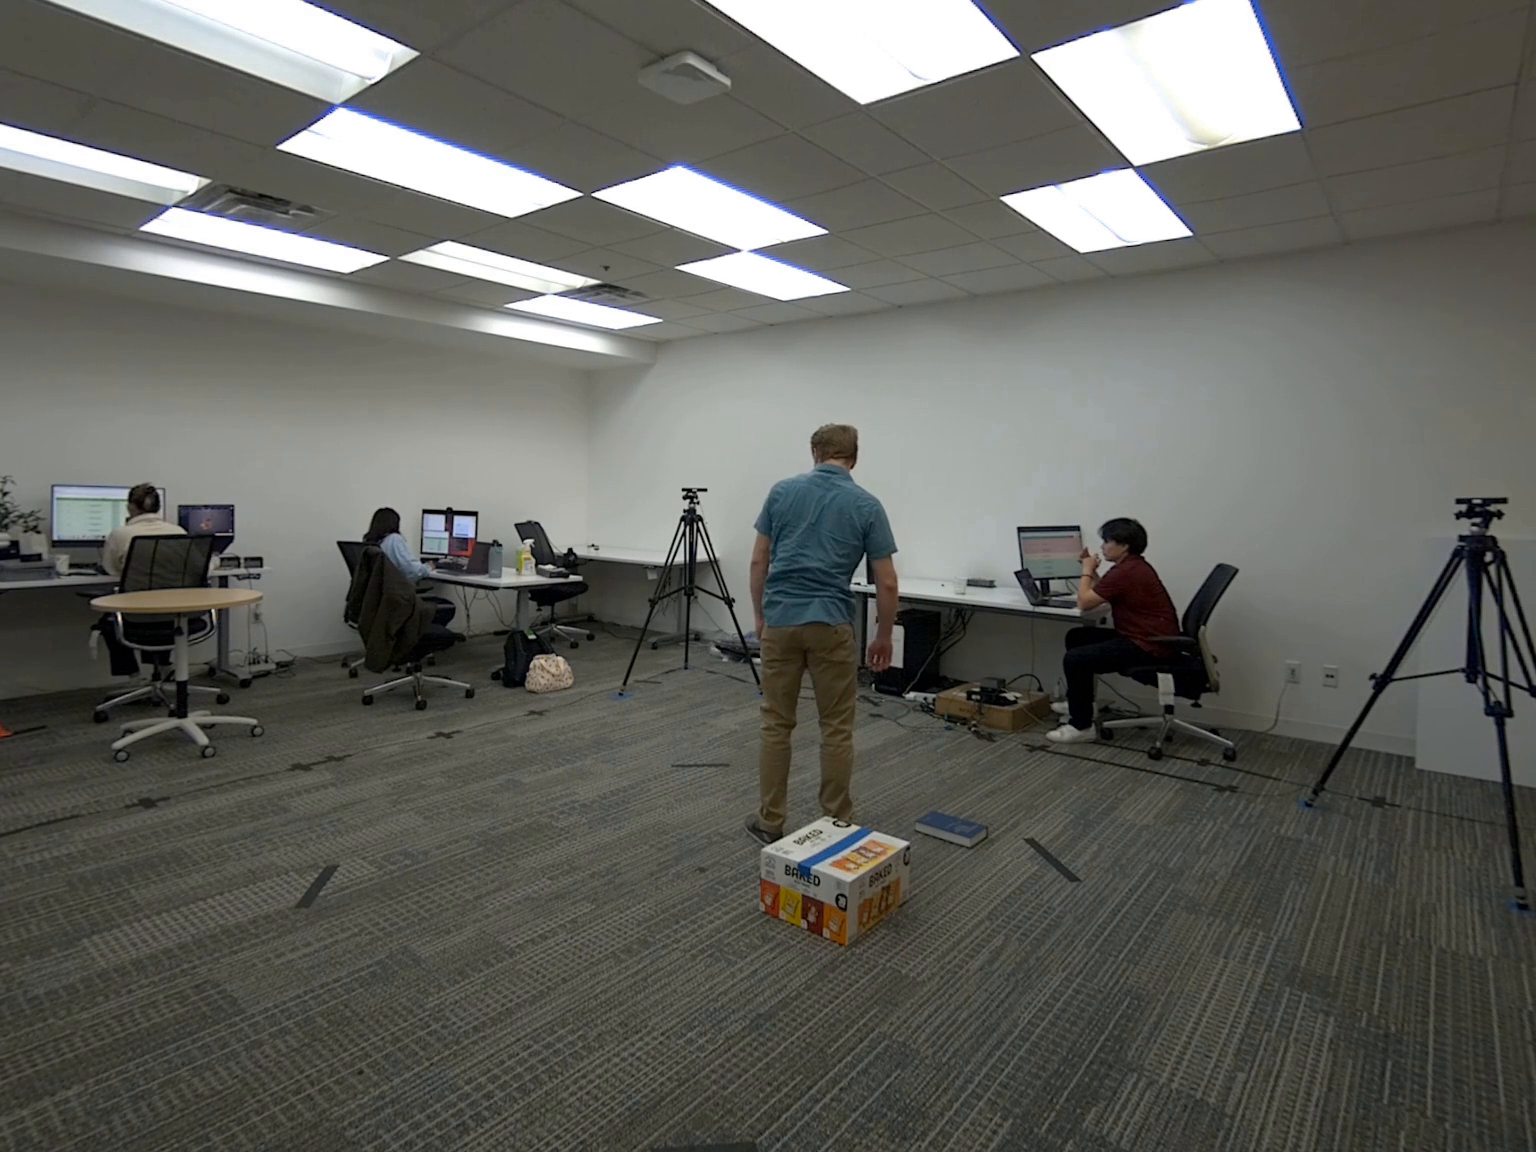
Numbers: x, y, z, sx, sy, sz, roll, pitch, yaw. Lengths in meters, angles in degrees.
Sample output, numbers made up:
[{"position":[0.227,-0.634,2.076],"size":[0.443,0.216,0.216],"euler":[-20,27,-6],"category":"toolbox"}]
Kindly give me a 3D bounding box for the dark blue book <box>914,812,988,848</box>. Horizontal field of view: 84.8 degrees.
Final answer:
[{"position":[0.743,1.035,3.486],"size":[0.253,0.045,0.158],"euler":[7,8,39],"category":"dark blue book"}]
